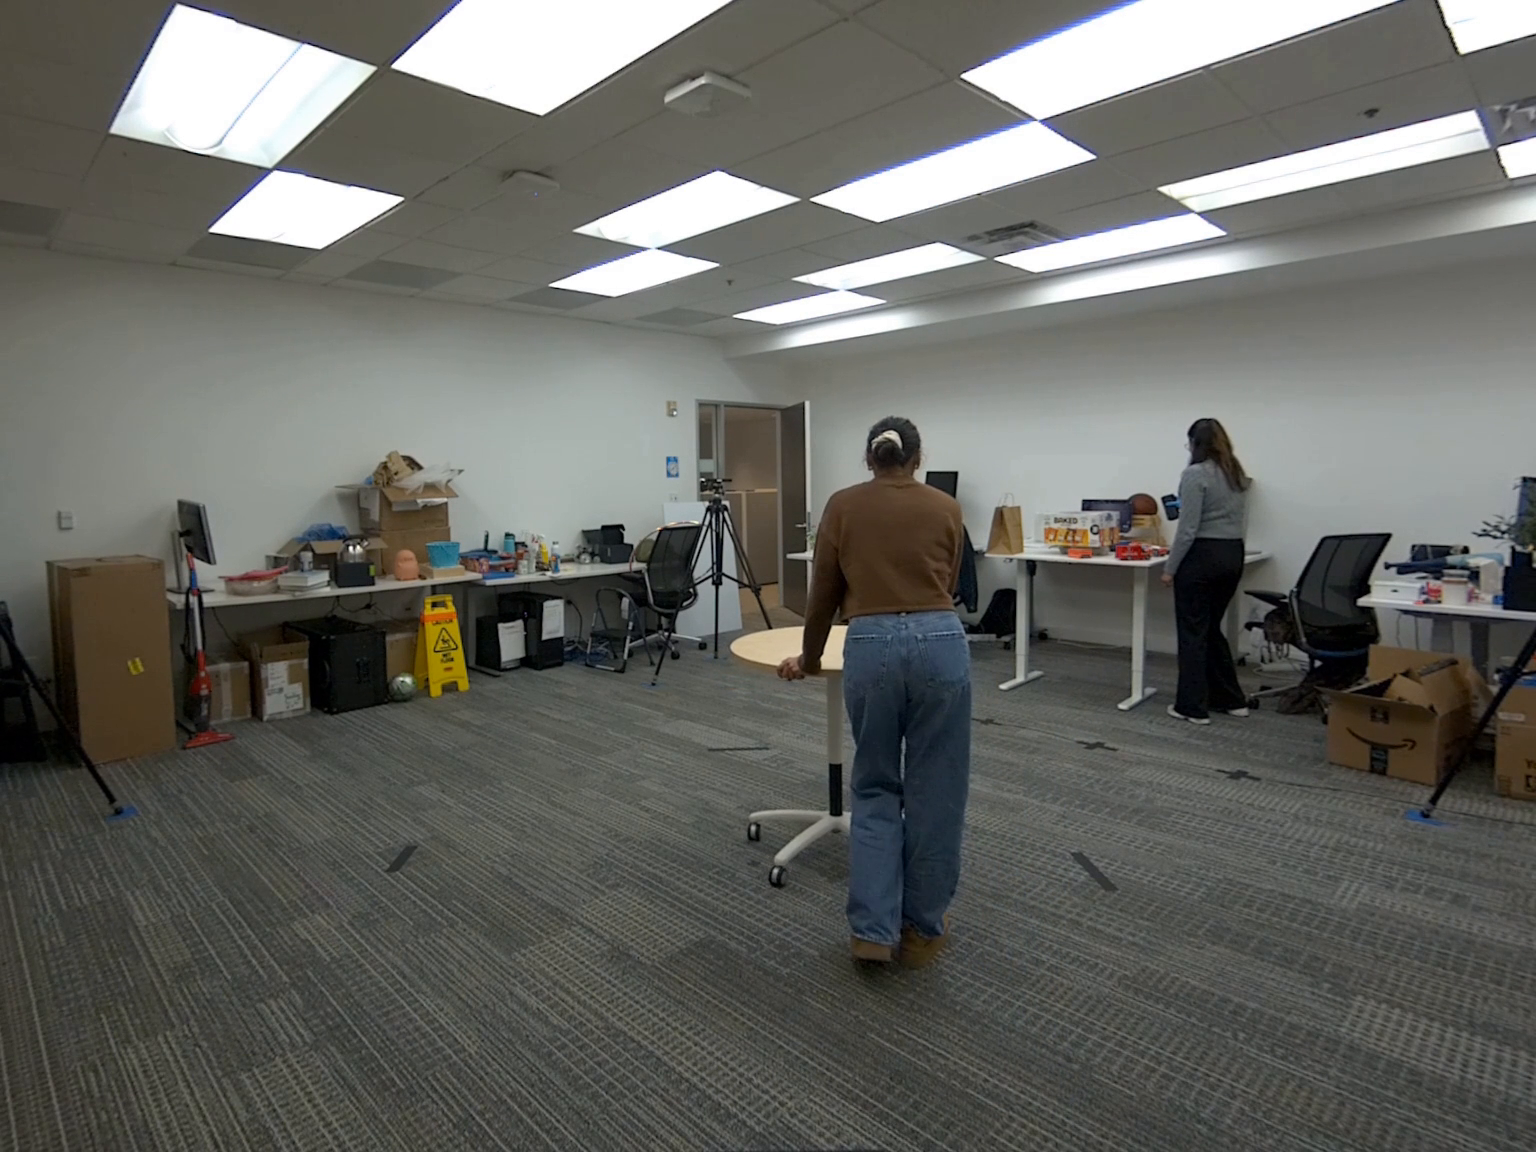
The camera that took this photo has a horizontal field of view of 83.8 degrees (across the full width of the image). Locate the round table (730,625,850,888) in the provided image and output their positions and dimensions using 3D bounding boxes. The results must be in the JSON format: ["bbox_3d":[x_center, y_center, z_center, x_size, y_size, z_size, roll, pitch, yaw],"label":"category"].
[{"bbox_3d":[0.251,0.645,3.164,0.763,0.791,0.768,-1,5,-2],"label":"round table"}]
